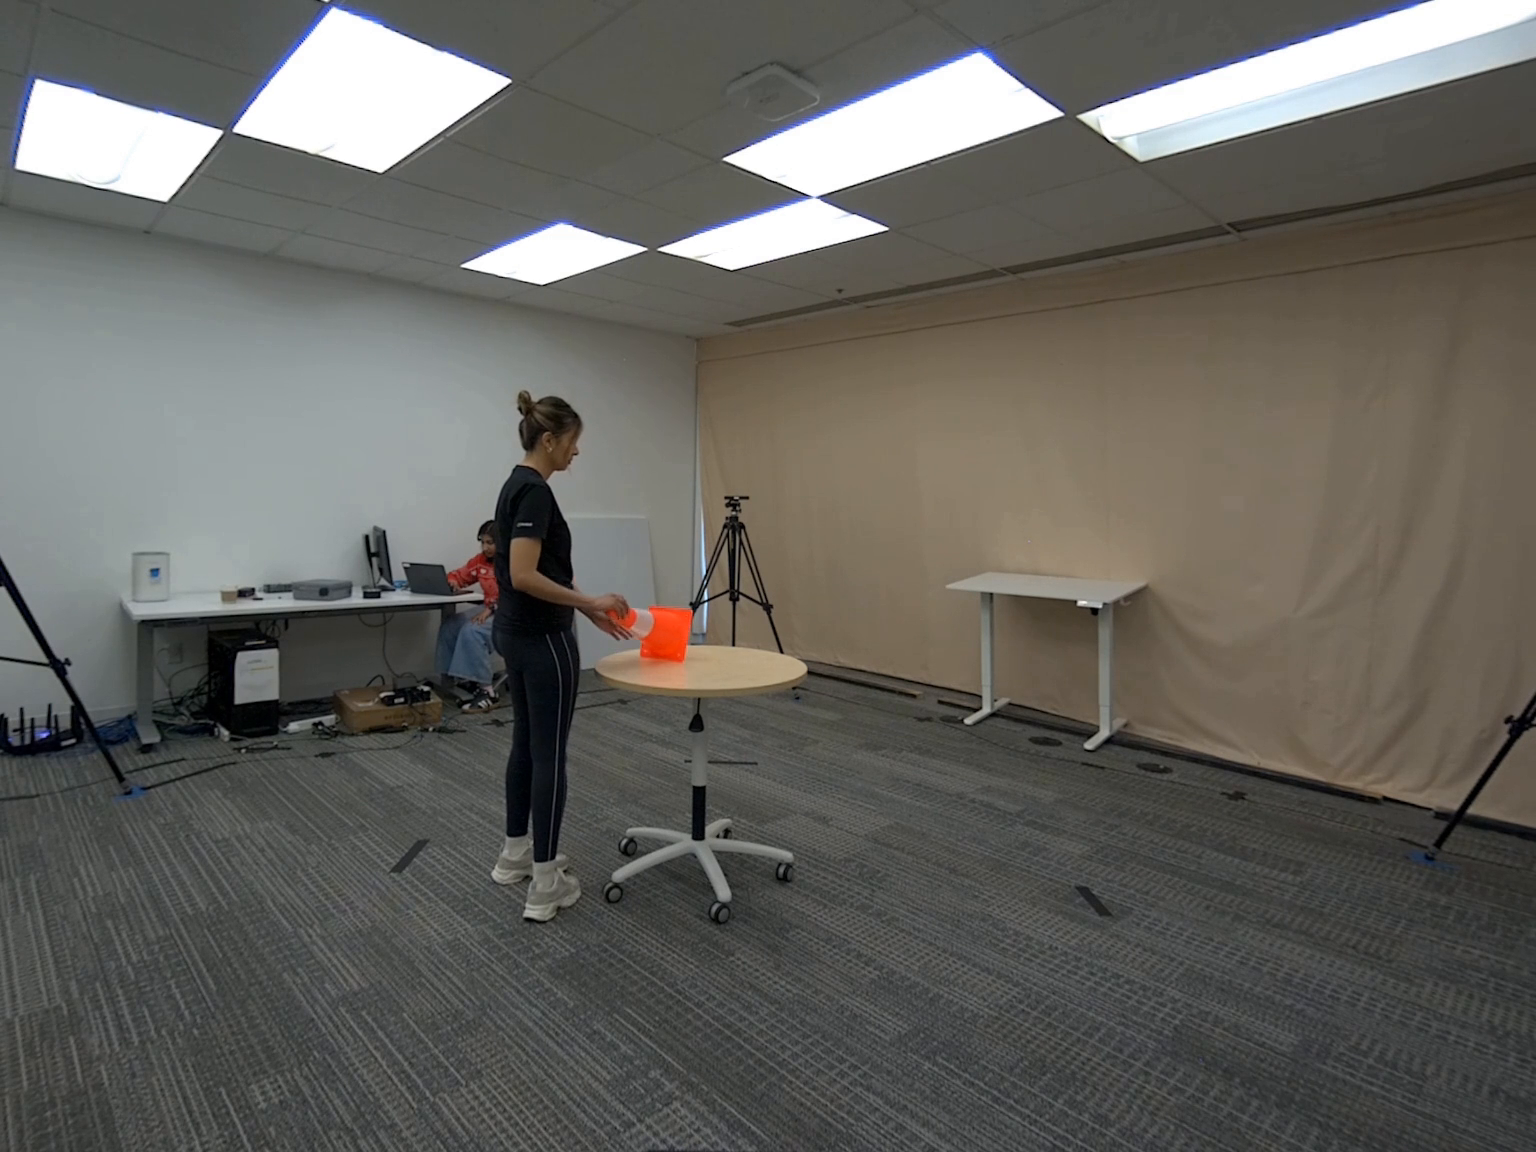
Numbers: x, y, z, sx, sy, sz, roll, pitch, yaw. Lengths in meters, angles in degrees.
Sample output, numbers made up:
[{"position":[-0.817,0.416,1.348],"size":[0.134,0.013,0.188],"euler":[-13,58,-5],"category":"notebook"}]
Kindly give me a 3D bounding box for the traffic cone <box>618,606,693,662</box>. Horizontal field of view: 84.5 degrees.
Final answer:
[{"position":[-0.467,0.171,2.988],"size":[0.209,0.205,0.373],"euler":[3,-13,26],"category":"traffic cone"}]
